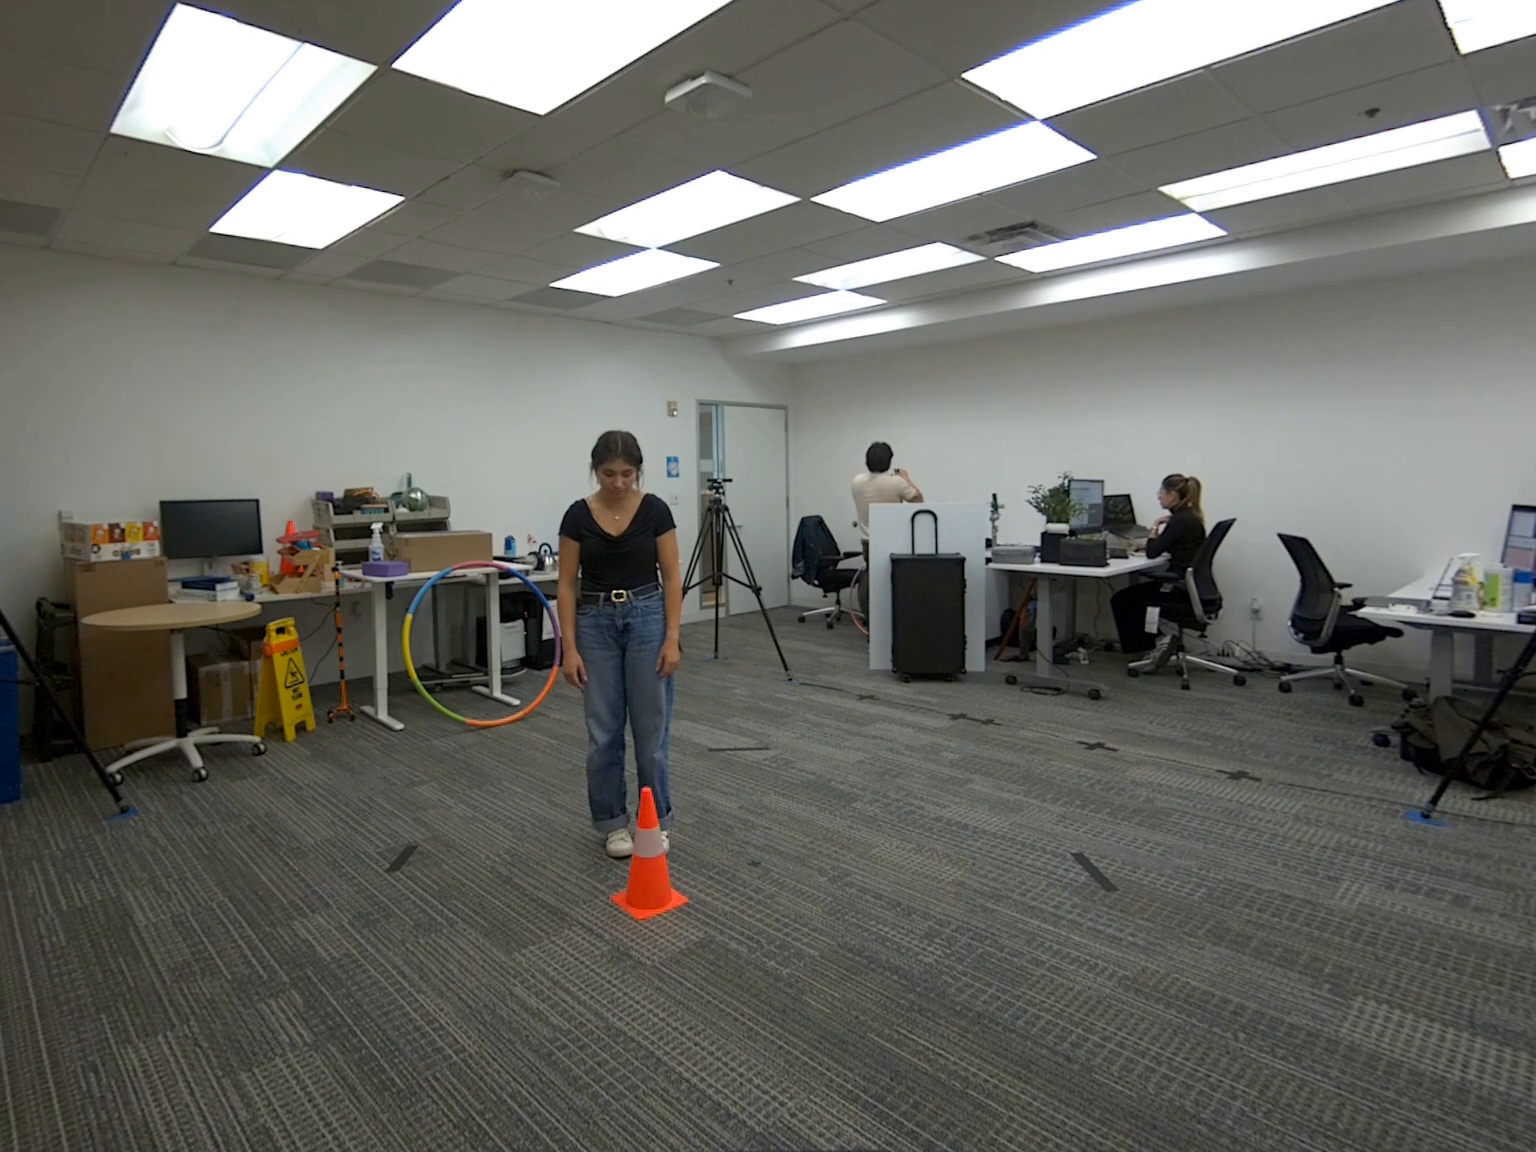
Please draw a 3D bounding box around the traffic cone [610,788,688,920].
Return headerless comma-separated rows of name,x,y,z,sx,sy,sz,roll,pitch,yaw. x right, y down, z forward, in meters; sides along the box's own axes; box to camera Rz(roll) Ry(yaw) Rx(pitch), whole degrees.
traffic cone,-0.393,0.899,2.842,0.198,0.383,0.211,-3,4,-44
